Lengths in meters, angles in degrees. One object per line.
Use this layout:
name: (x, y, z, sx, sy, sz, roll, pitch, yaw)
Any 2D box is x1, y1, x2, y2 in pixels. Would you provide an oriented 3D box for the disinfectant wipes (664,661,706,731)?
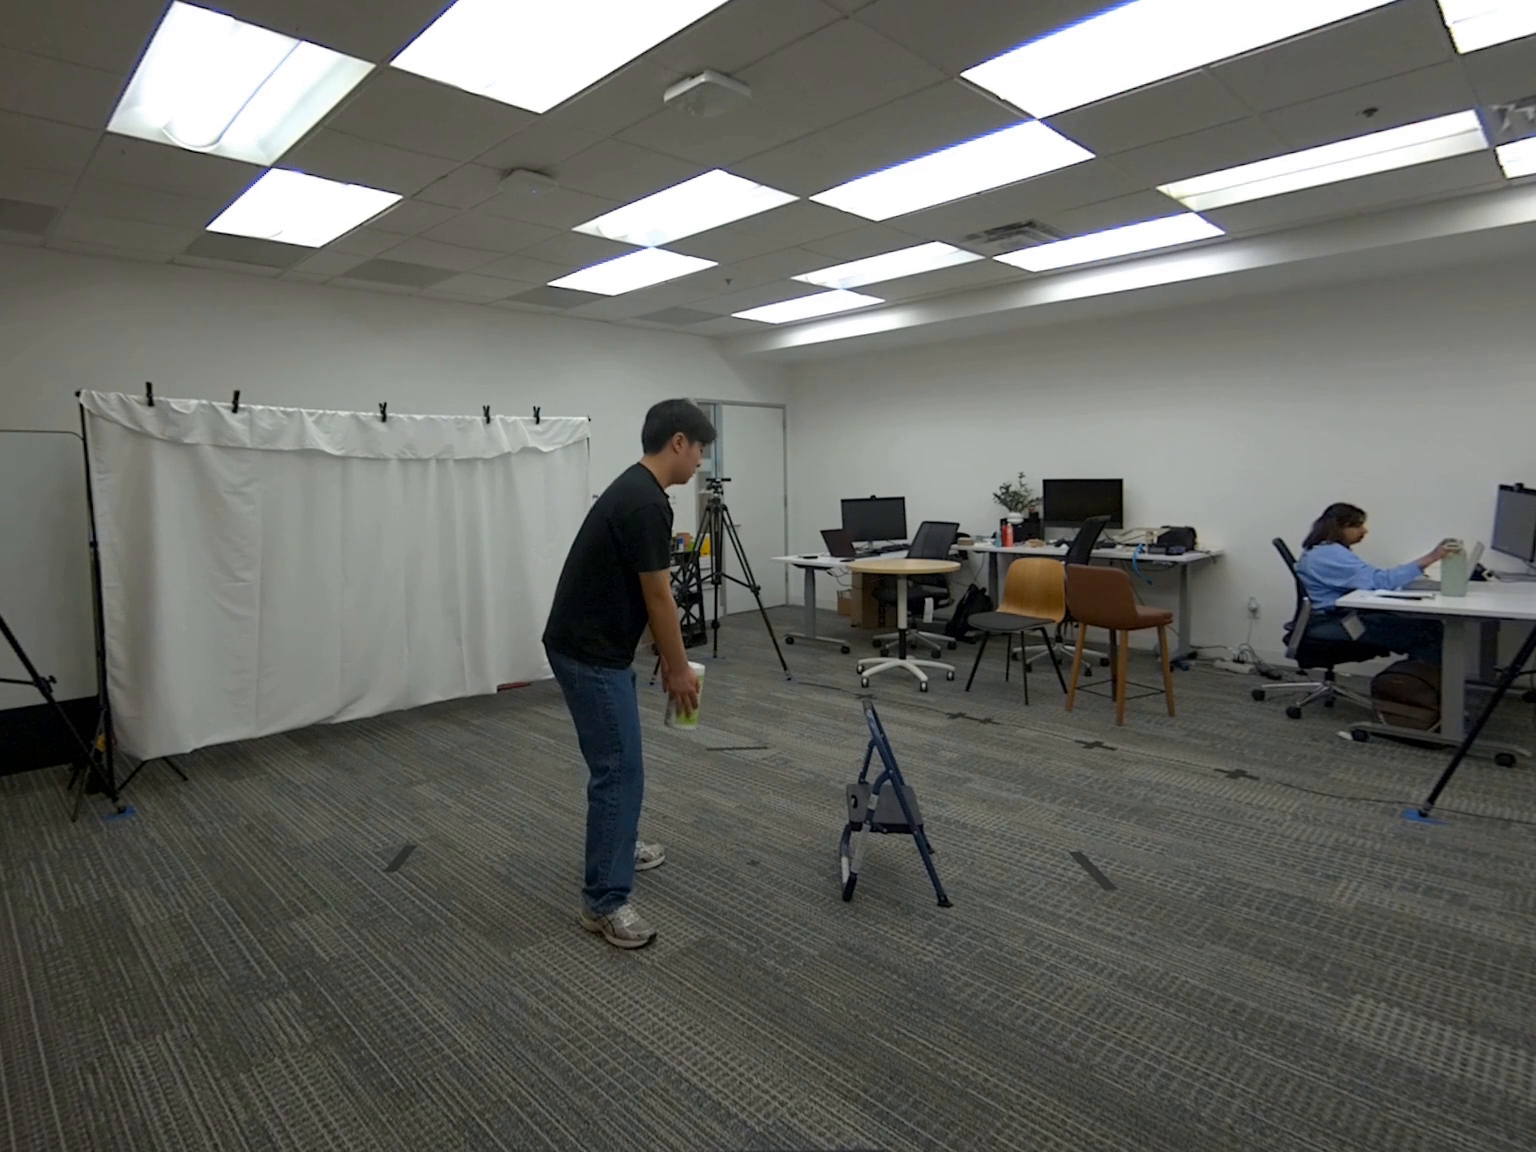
disinfectant wipes: (-0.272, 0.399, 2.862, 0.118, 0.218, 0.117, 8, -4, -1)
